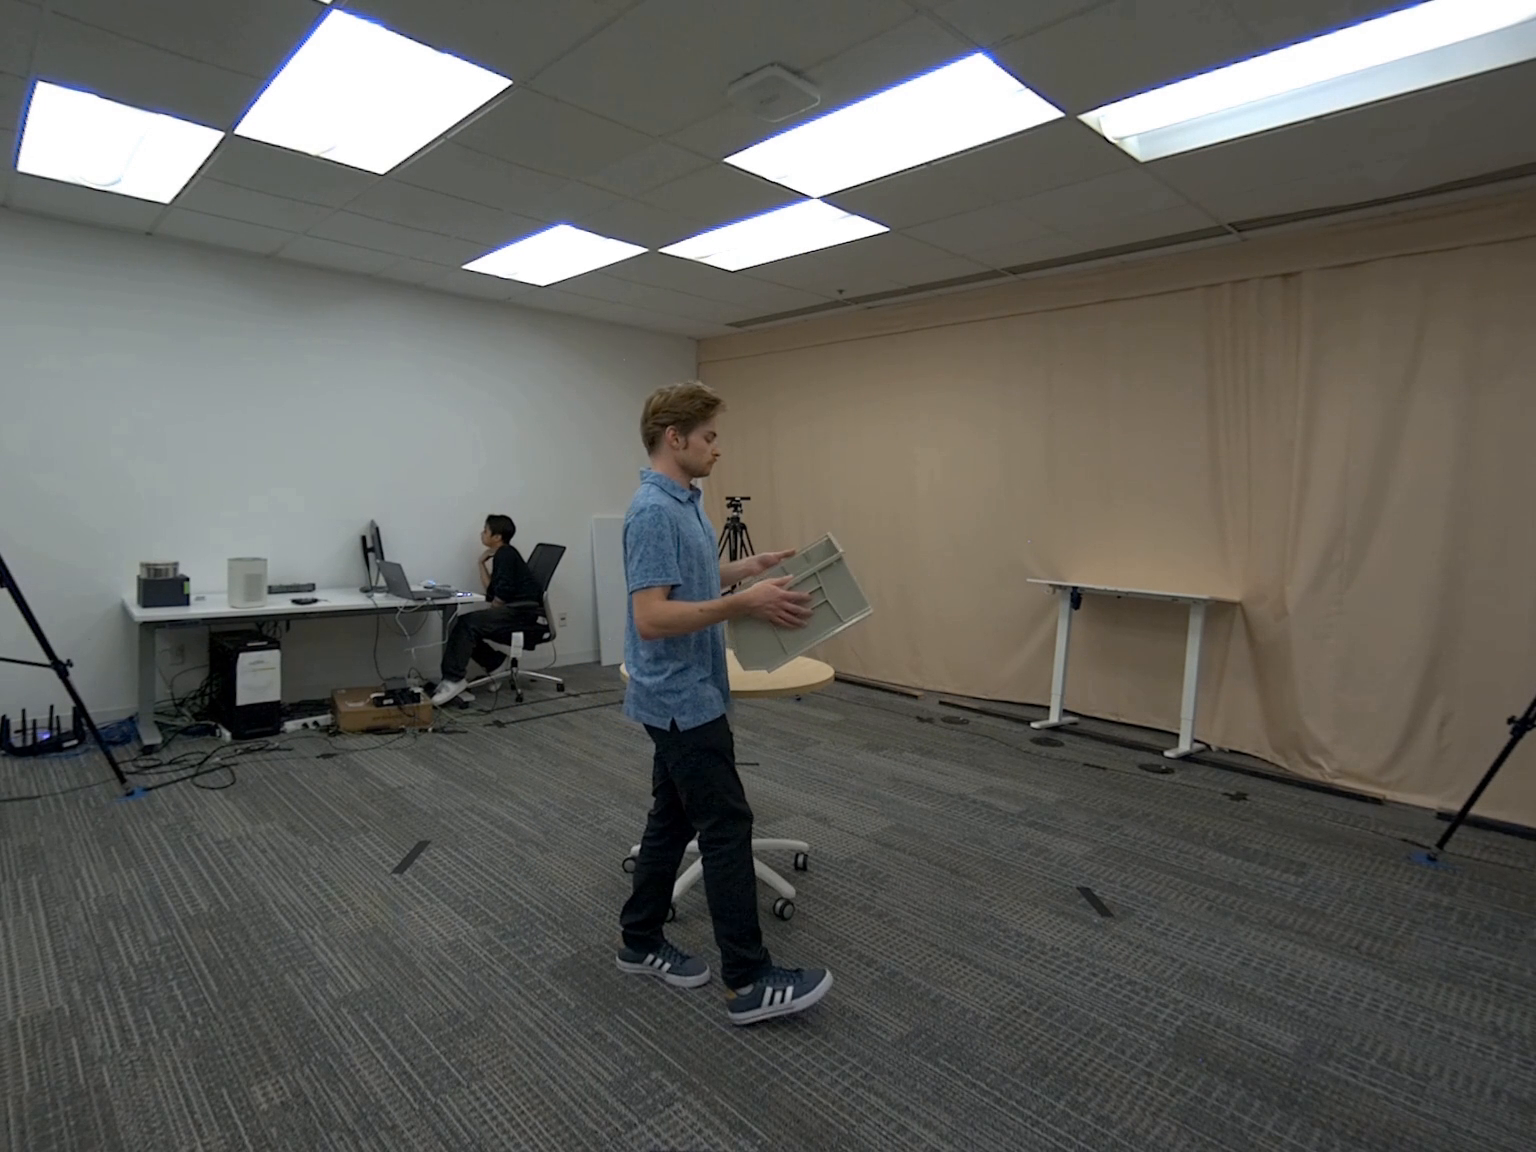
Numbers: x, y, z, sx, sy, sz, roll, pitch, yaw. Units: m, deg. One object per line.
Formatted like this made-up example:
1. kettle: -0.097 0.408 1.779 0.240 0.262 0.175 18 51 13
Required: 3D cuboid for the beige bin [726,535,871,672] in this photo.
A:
1. beige bin: 0.065 0.071 2.346 0.378 0.187 0.425 -29 10 4
